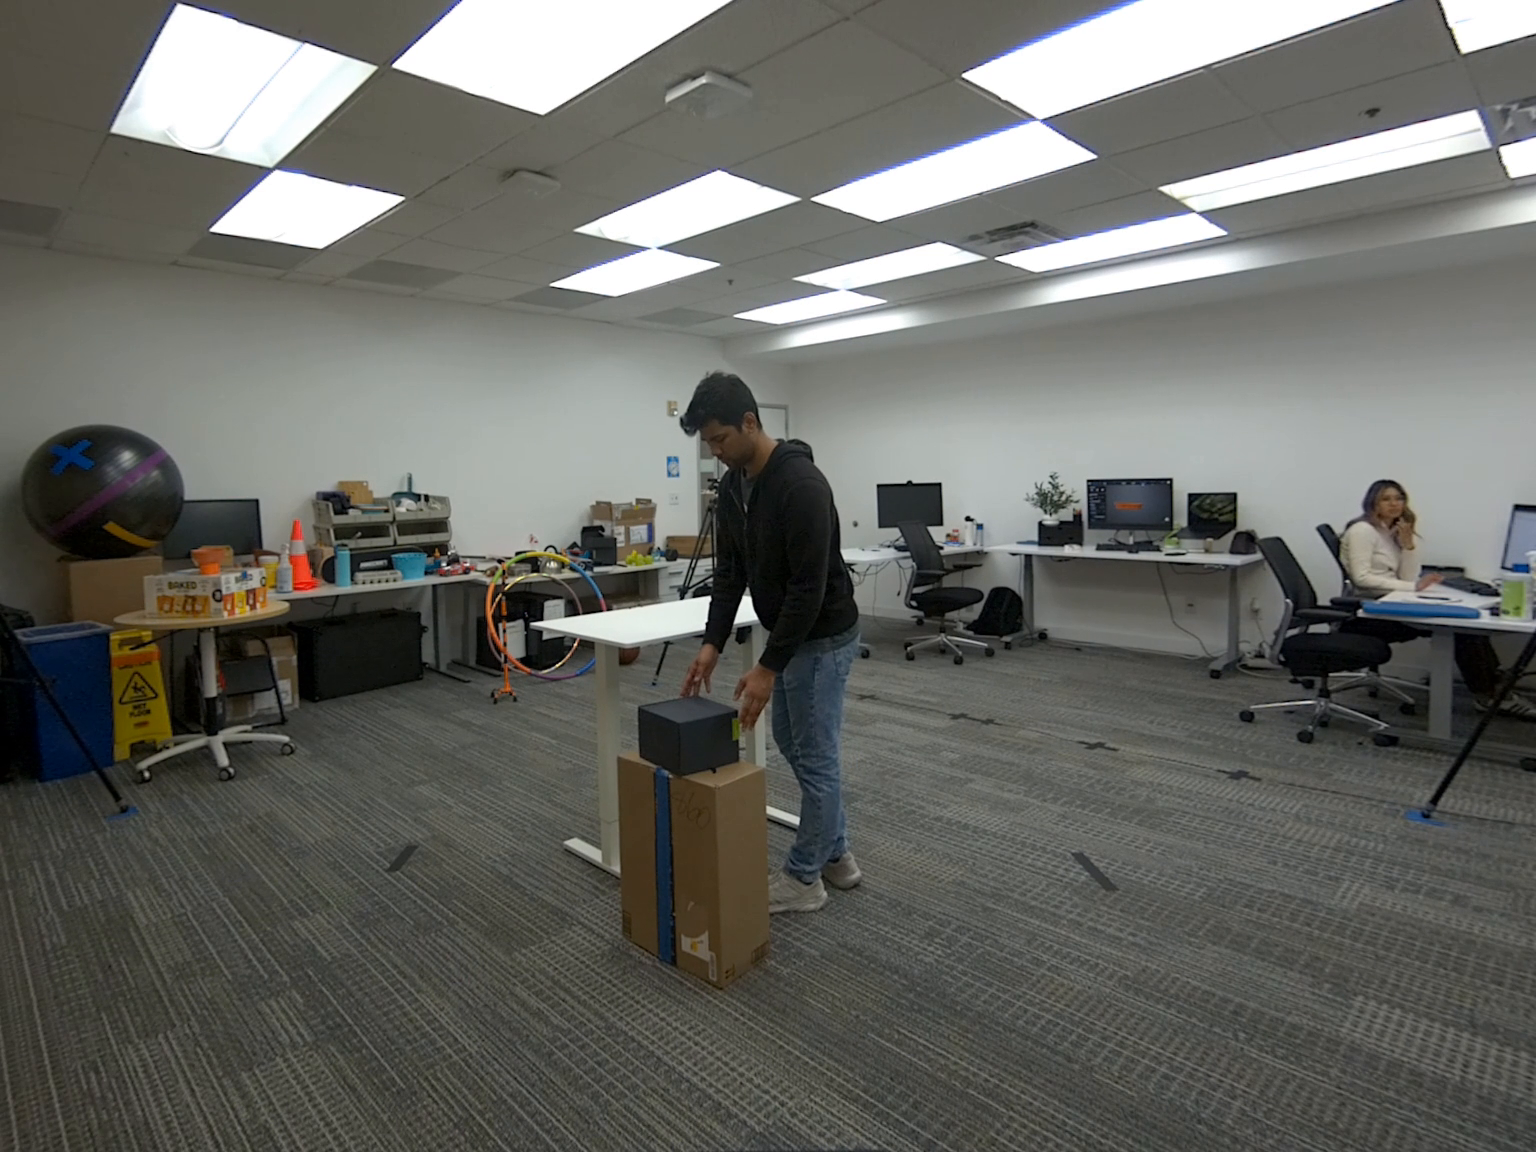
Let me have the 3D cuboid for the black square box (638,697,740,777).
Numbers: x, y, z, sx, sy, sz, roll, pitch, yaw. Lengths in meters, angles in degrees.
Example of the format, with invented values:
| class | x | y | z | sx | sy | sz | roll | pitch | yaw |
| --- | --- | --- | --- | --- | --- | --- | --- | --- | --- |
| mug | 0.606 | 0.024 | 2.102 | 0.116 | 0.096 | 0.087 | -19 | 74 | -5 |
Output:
| class | x | y | z | sx | sy | sz | roll | pitch | yaw |
| --- | --- | --- | --- | --- | --- | --- | --- | --- | --- |
| black square box | -0.240 | 0.472 | 2.542 | 0.211 | 0.155 | 0.235 | -5 | 6 | -38 |
